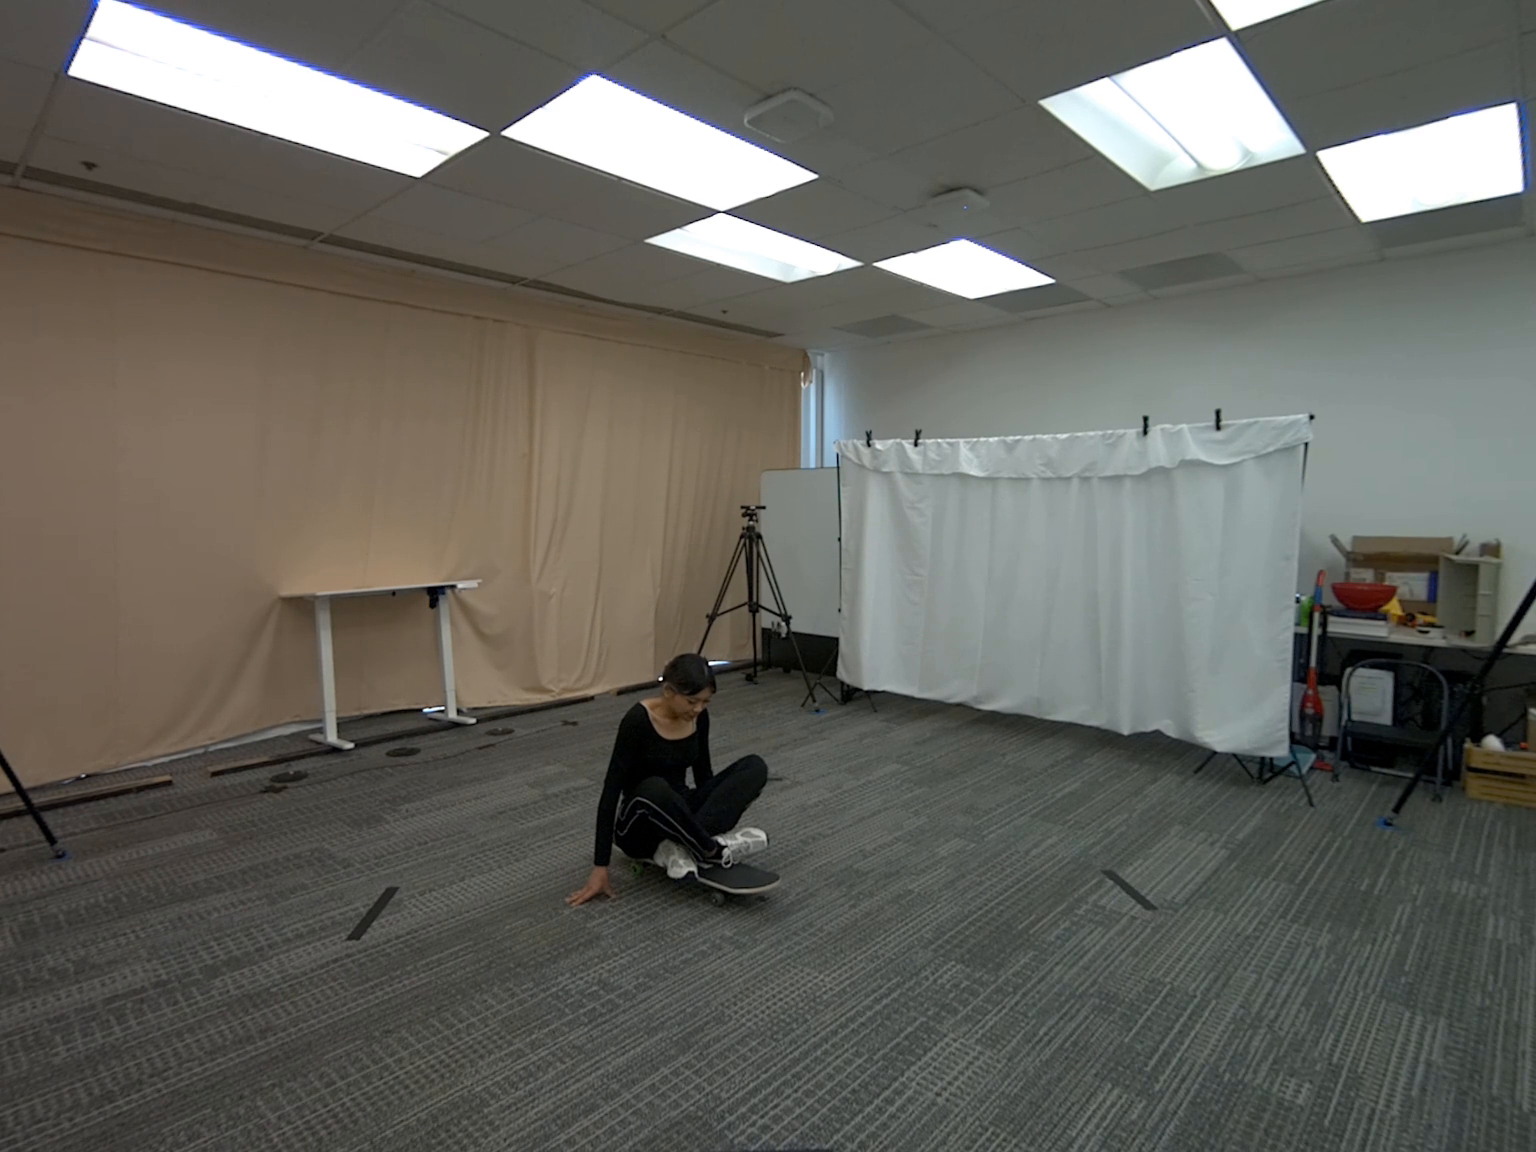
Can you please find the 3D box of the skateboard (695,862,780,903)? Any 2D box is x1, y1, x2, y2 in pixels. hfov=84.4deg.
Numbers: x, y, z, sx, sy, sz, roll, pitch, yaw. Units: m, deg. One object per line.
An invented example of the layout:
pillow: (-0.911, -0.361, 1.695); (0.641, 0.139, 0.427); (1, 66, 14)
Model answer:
skateboard: (-0.283, 1.074, 3.120); (0.810, 0.110, 0.188); (1, 3, 38)
